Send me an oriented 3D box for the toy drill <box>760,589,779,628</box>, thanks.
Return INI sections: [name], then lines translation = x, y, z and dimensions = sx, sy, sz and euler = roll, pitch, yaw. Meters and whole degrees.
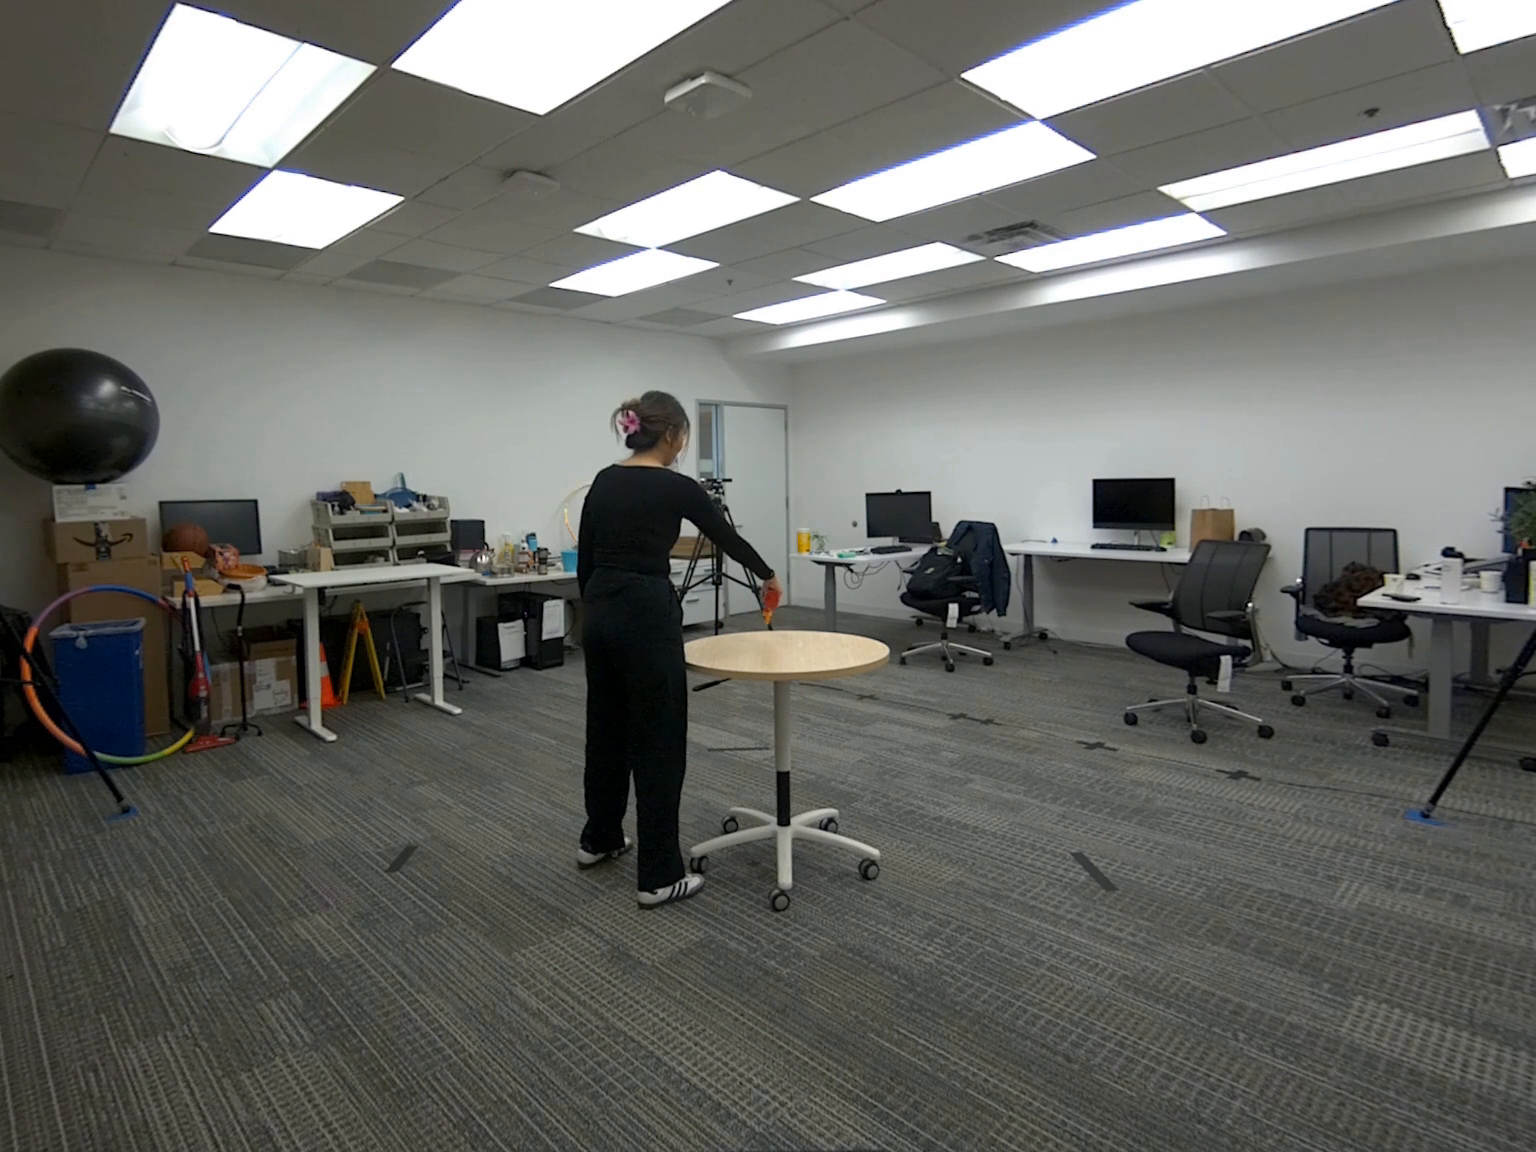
[toy drill]
translation = 0.003, 0.109, 3.283
dimensions = 0.061, 0.170, 0.147
euler = 5, 2, -6
